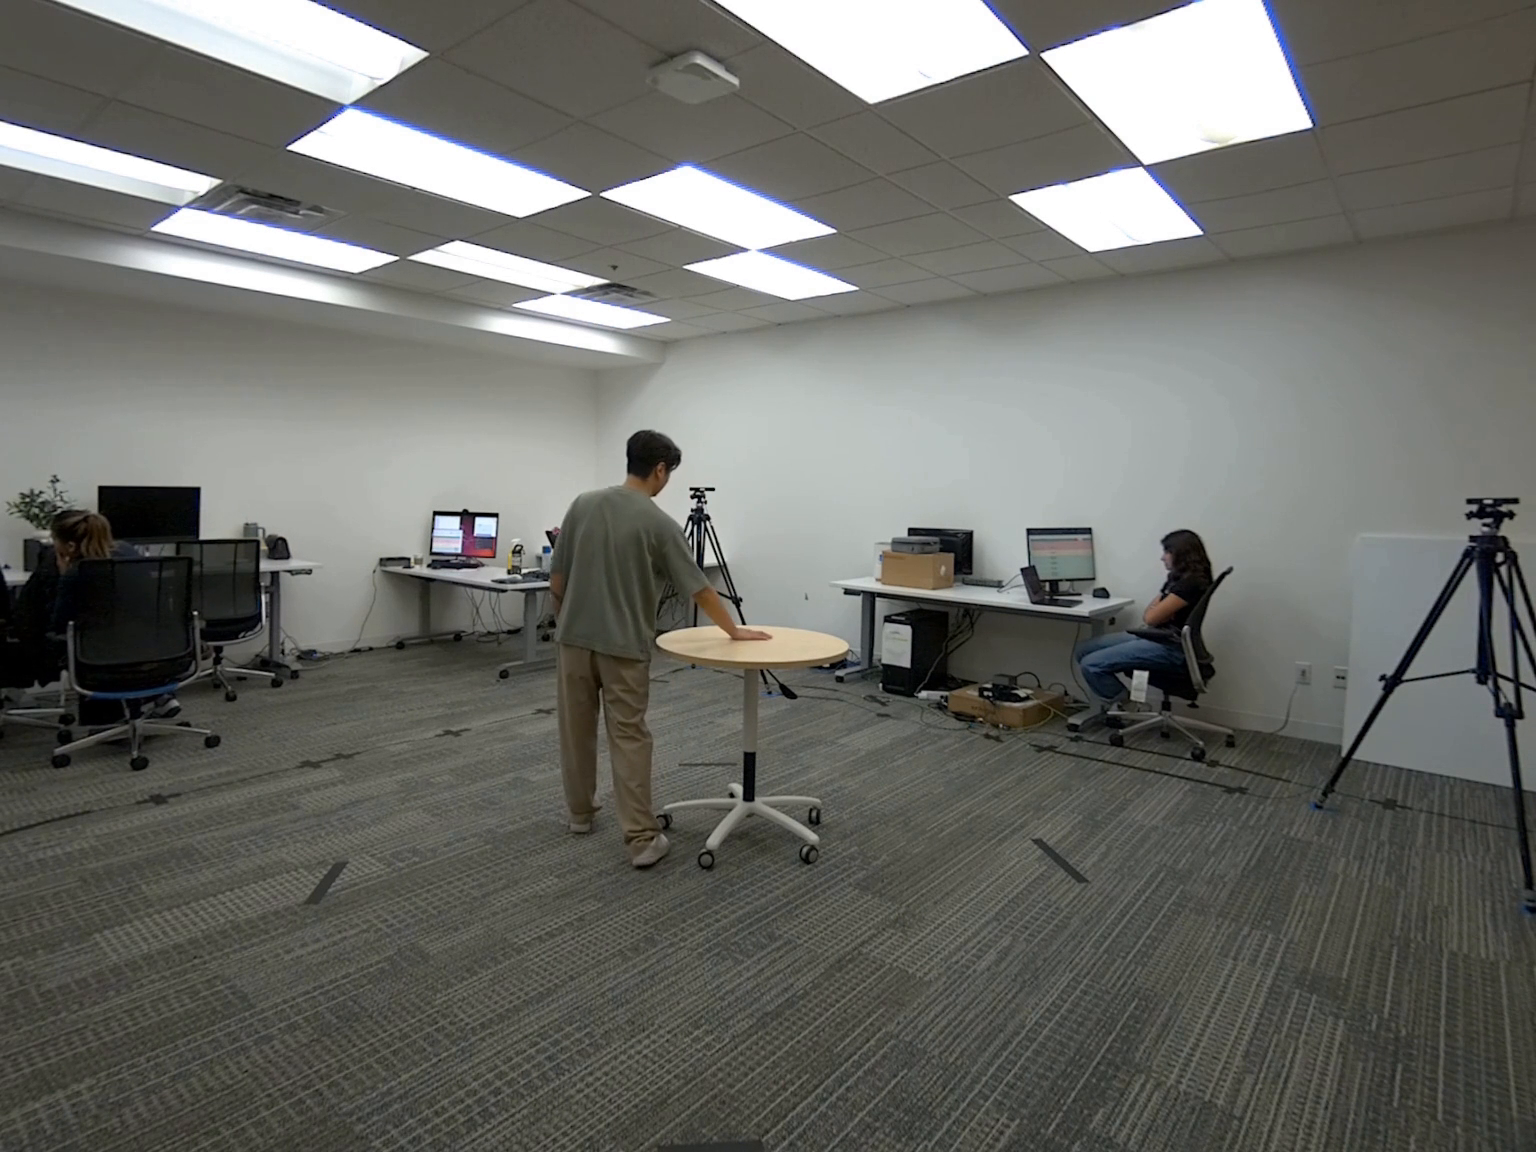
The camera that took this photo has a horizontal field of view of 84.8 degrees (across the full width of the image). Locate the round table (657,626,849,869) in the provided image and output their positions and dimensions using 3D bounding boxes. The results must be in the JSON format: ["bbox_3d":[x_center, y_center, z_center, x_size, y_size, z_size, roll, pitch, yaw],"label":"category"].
[{"bbox_3d":[-0.081,0.654,3.412,0.763,0.791,0.768,1,4,-2],"label":"round table"}]
